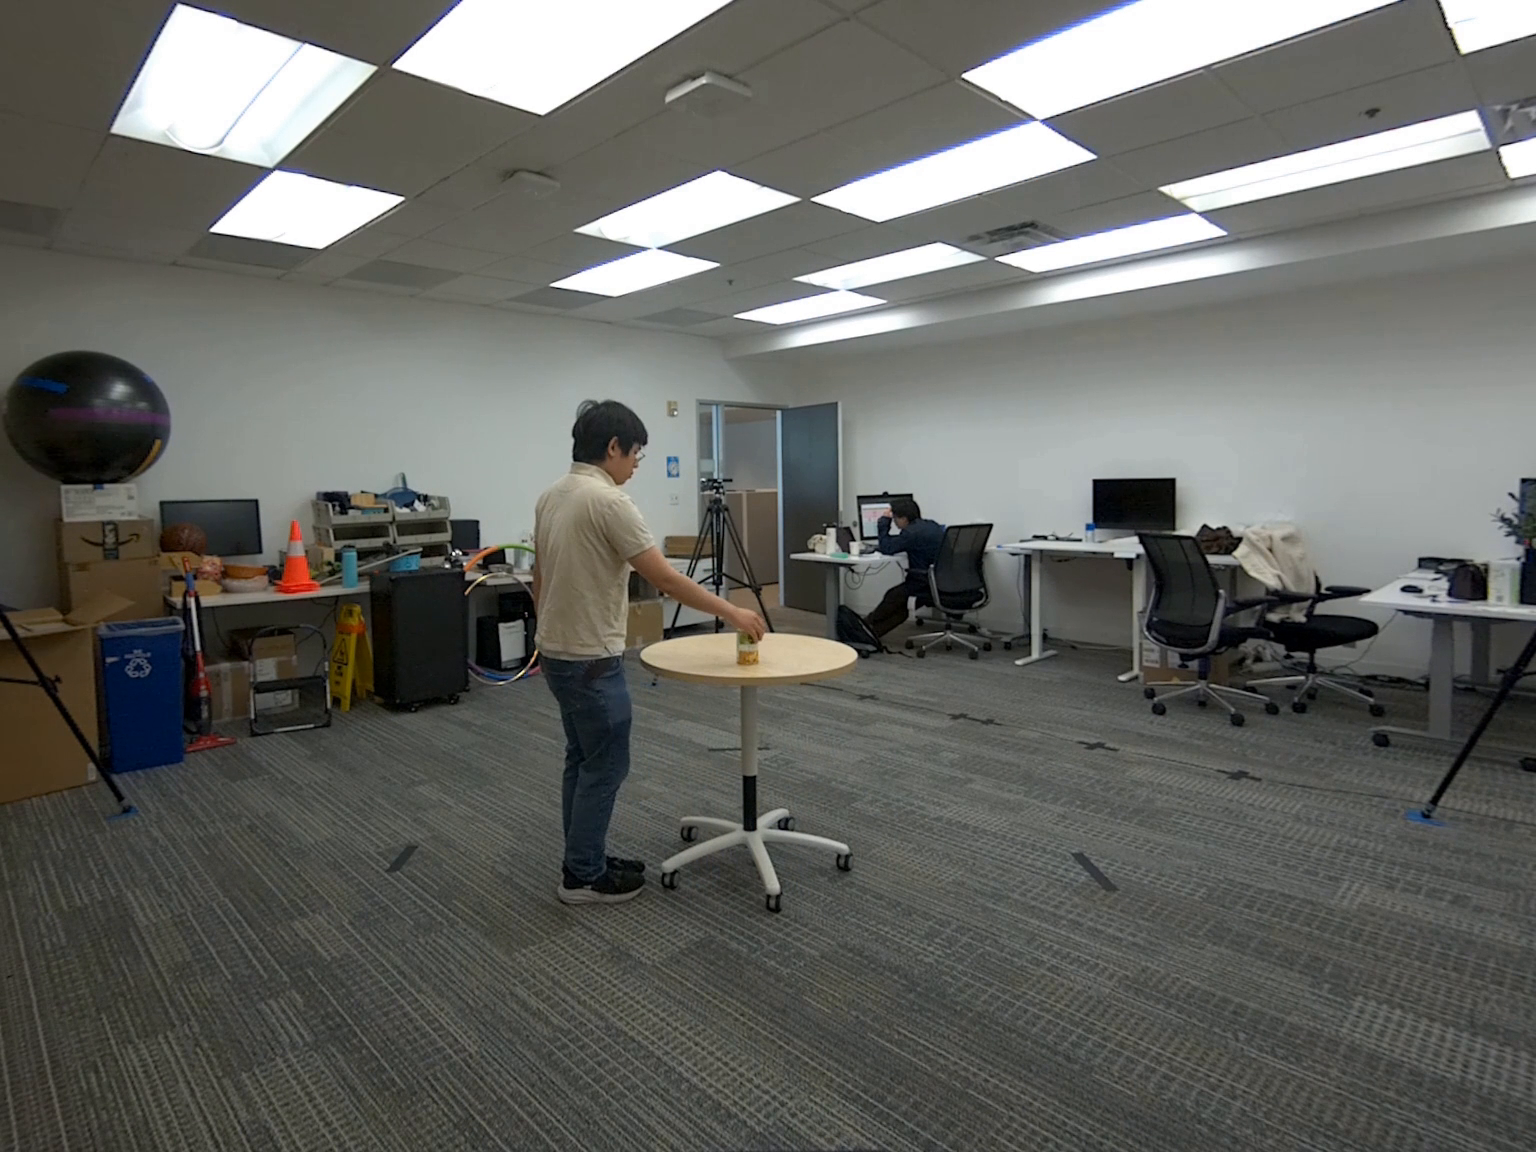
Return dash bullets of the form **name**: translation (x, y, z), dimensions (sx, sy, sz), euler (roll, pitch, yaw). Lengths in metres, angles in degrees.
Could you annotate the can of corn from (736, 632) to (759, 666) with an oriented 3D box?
- **can of corn**: translation (-0.074, 0.232, 2.852), dimensions (0.074, 0.111, 0.074), euler (1, 3, -2)
